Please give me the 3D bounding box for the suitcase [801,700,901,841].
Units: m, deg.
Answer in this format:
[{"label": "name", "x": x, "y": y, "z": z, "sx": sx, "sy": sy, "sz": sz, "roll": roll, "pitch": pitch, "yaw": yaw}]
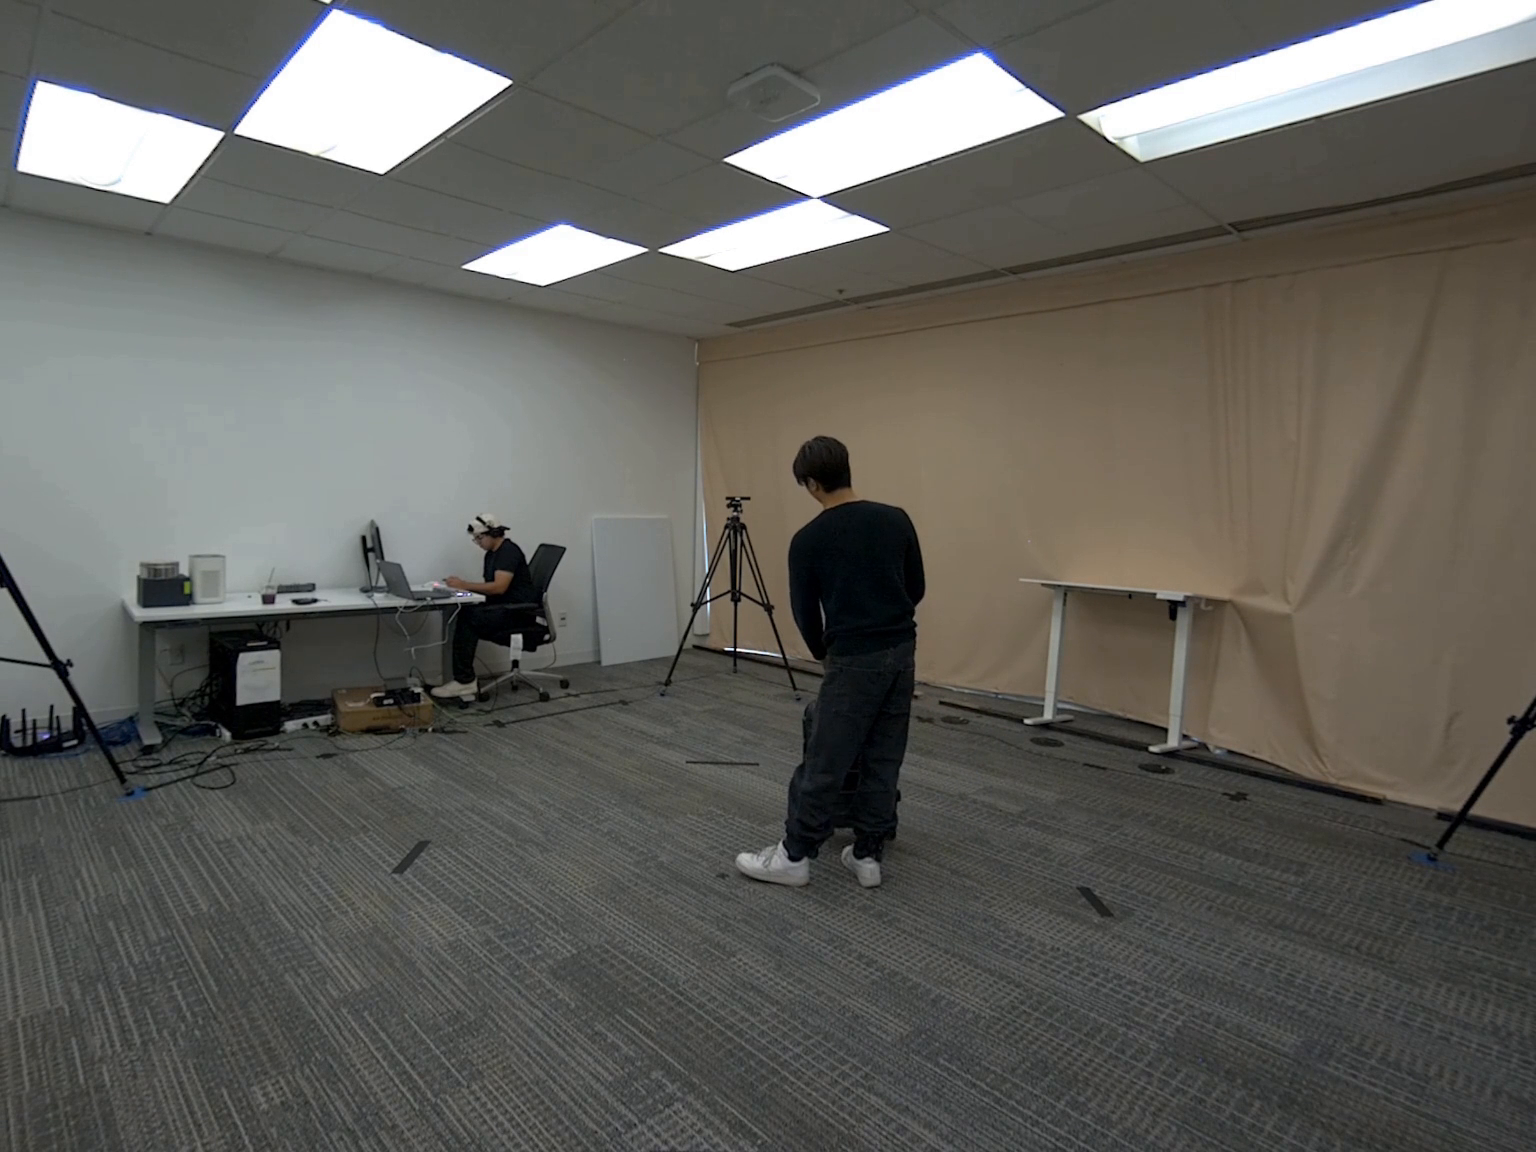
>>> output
[{"label": "suitcase", "x": 0.322, "y": 0.566, "z": 3.458, "sx": 0.385, "sy": 0.984, "sz": 0.255, "roll": -2, "pitch": -7, "yaw": 4}]
